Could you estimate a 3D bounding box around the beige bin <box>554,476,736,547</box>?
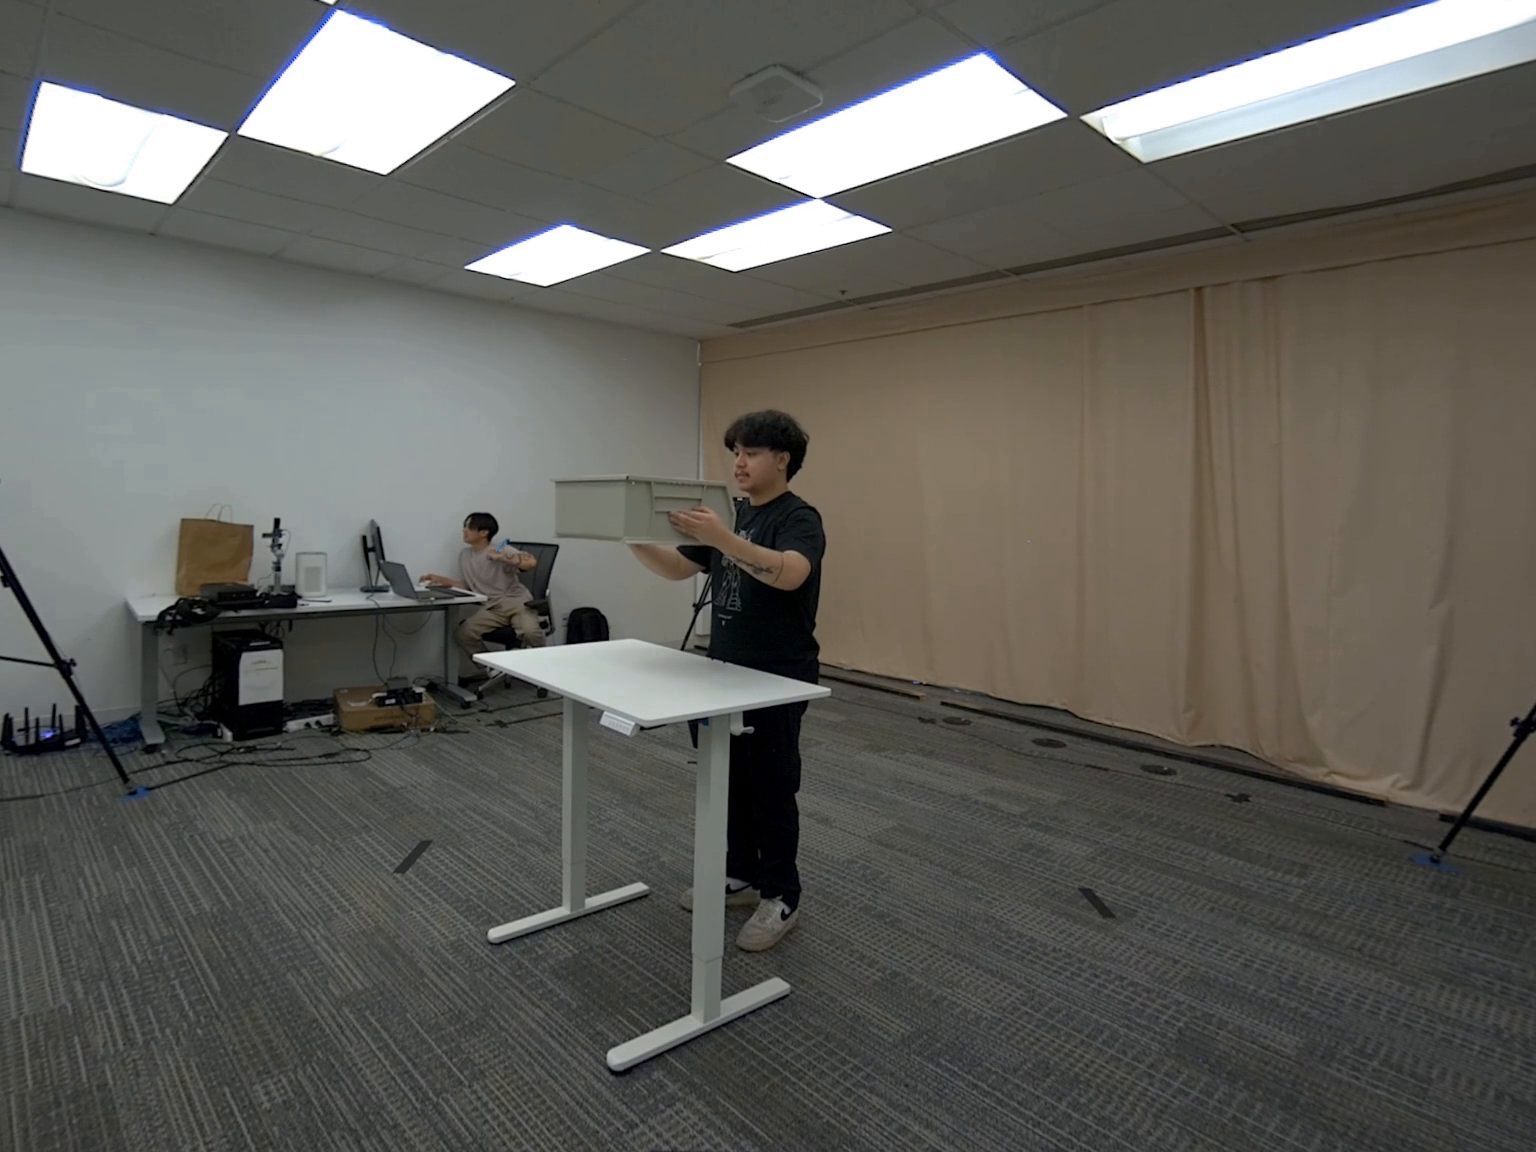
[{"bbox_3d":[-0.373,-0.181,2.440,0.369,0.188,0.433,-2,5,-41],"label":"beige bin"}]
